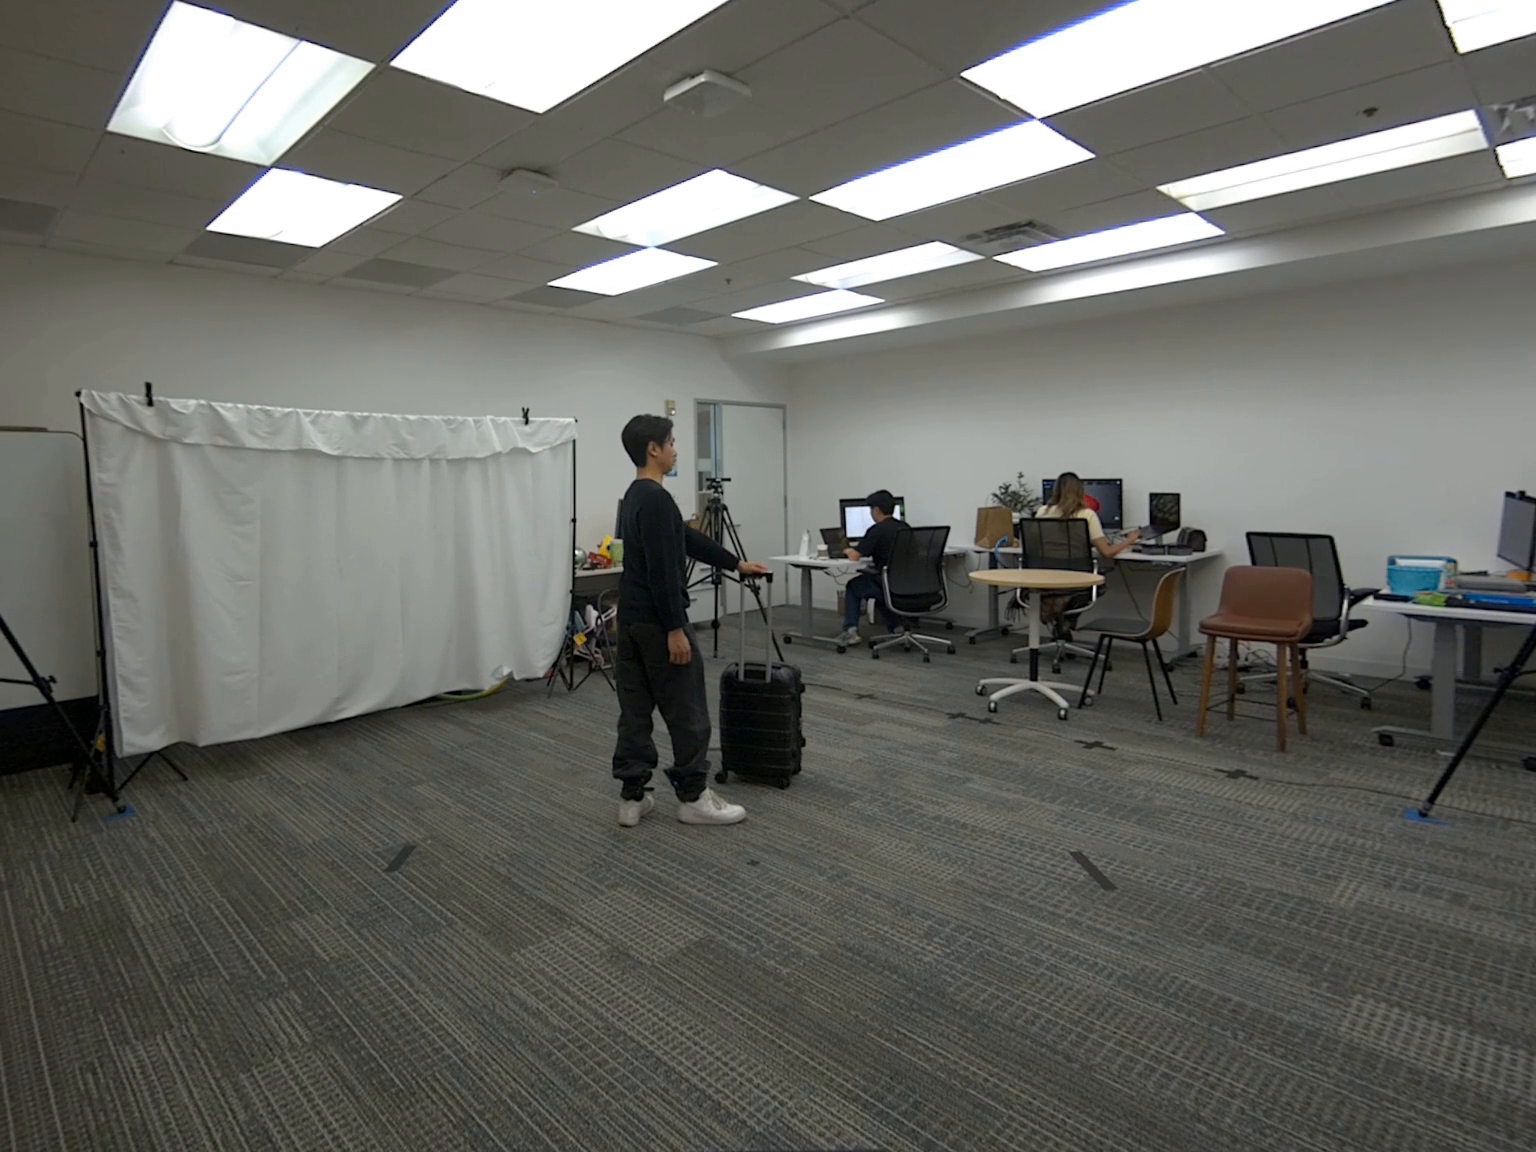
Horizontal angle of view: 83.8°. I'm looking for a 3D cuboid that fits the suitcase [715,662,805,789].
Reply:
[{"bbox_3d":[-0.026,0.470,3.953,0.391,0.975,0.253,2,4,18],"label":"suitcase"}]
